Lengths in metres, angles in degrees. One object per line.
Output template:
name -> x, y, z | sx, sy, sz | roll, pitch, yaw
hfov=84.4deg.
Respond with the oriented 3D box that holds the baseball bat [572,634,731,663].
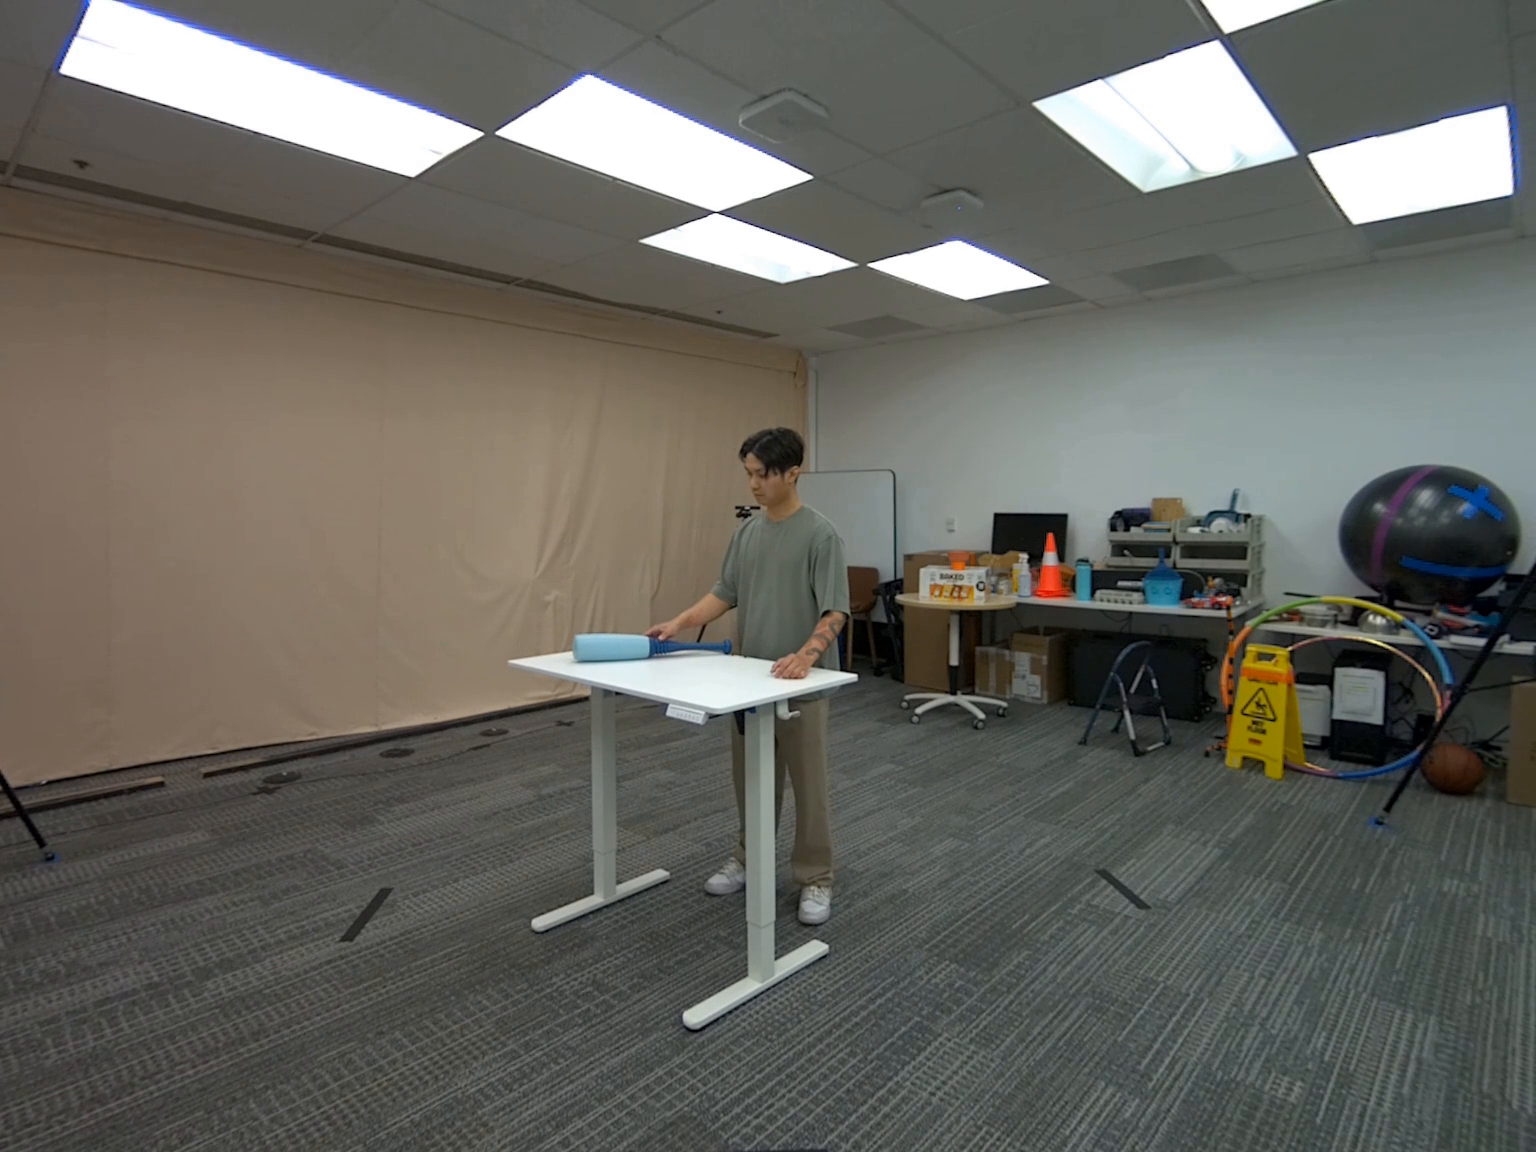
baseball bat -> -0.385, 0.250, 2.829 | 0.534, 0.089, 0.090 | 2, 3, -15
